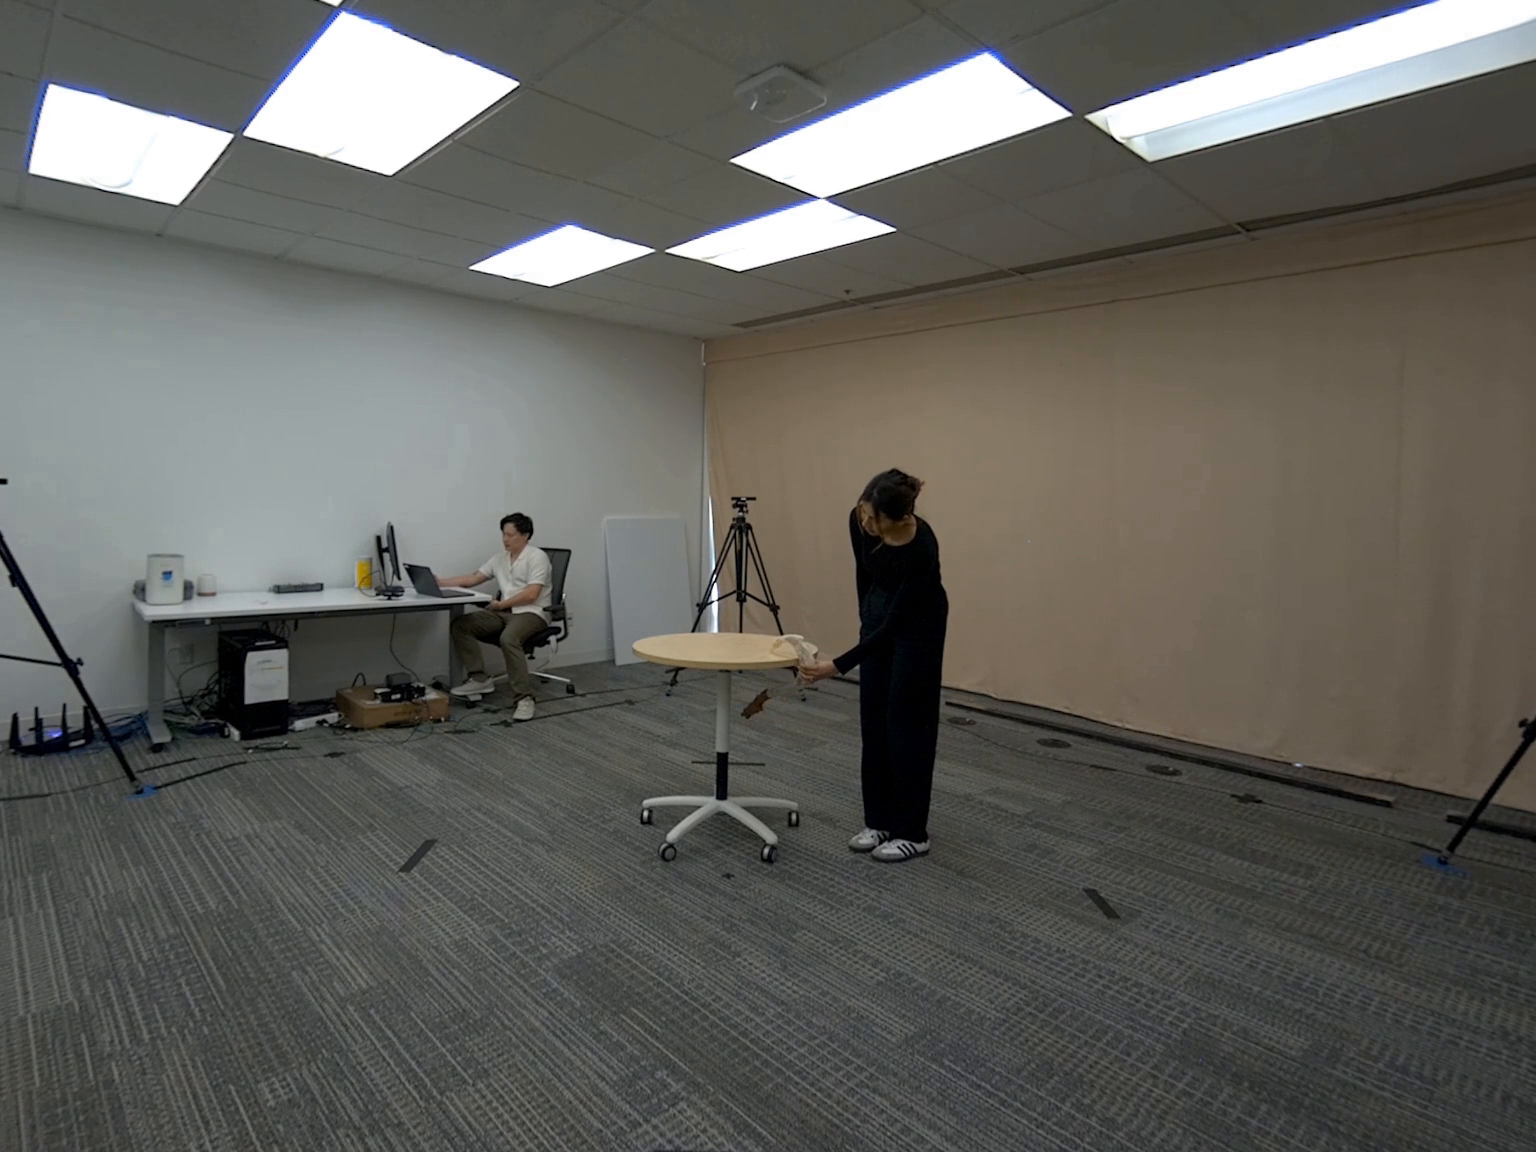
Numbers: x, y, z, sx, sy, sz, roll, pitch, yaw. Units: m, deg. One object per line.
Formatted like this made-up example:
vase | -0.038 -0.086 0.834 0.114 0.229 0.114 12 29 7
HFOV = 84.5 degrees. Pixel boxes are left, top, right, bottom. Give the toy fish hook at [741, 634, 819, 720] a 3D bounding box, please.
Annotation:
toy fish hook | 0.020 0.403 3.352 0.047 0.229 0.507 -3 -31 -42
